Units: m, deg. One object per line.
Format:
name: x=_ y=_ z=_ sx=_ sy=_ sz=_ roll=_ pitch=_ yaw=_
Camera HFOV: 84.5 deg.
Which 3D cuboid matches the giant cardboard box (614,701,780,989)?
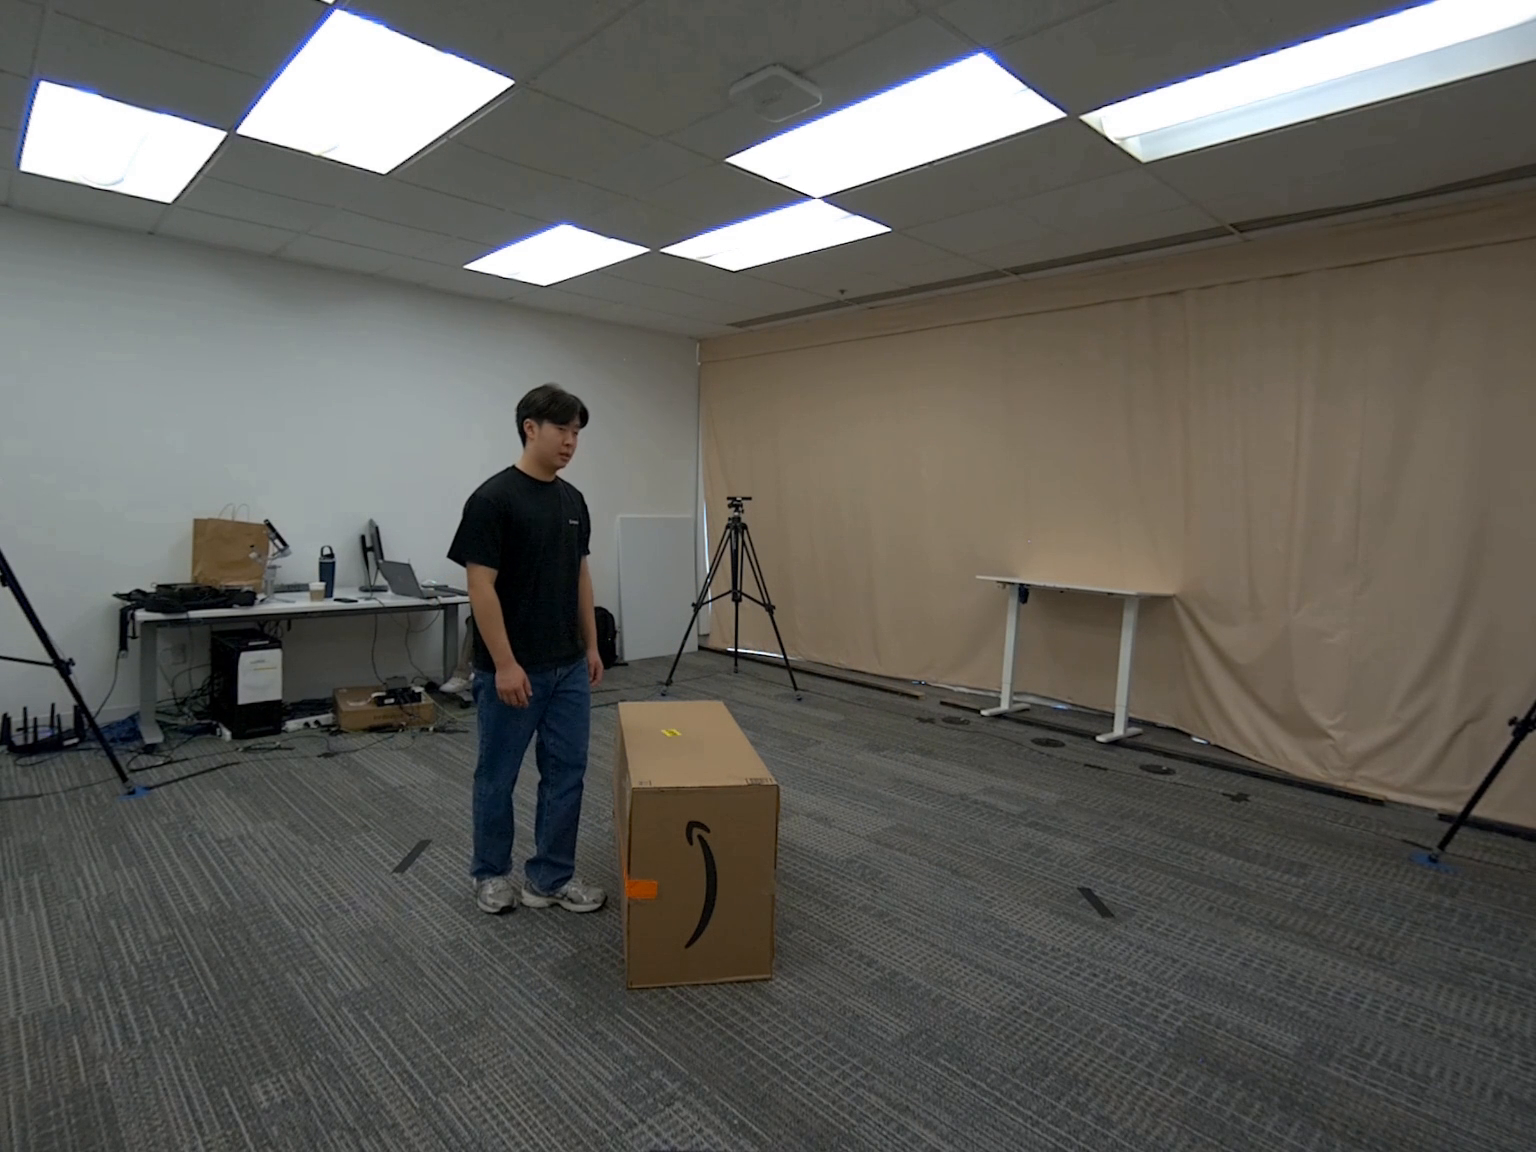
giant cardboard box: x=-0.295 y=0.833 z=2.892 sx=0.443 sy=0.582 sz=1.039 roll=0 pitch=4 yaw=-12
